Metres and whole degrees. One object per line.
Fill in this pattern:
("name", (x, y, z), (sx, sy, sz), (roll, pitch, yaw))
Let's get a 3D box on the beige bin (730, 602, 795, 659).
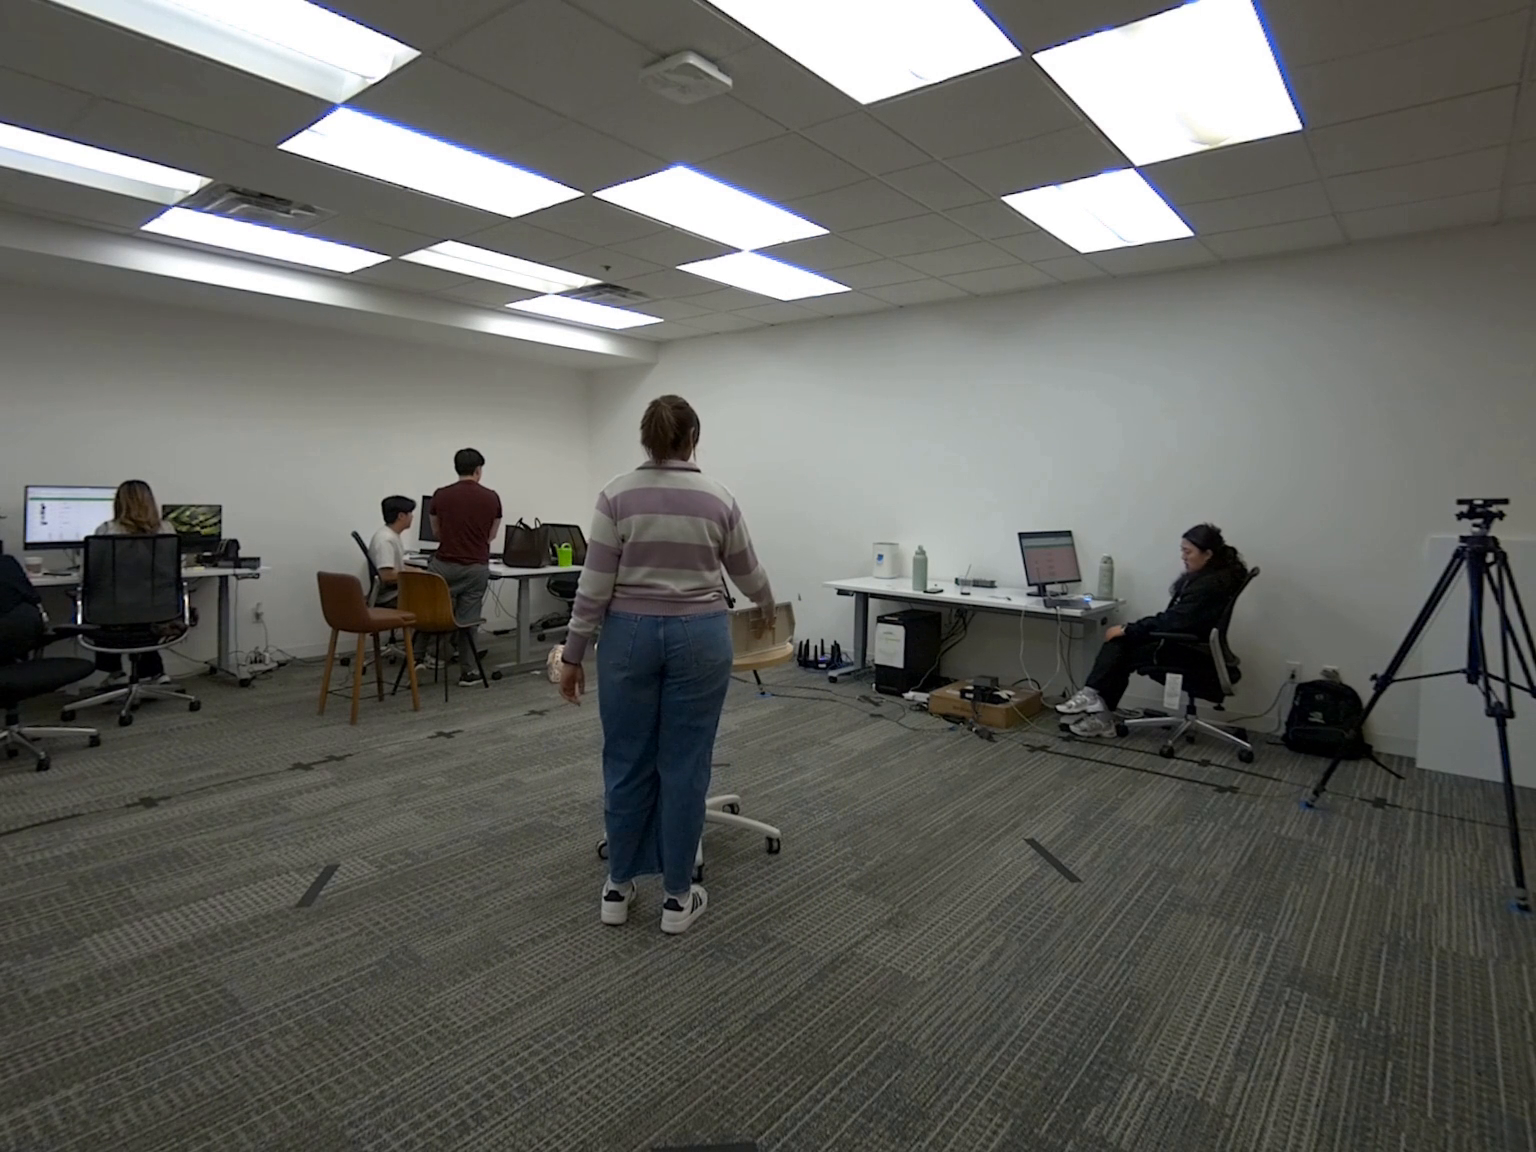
("beige bin", (-0.179, 0.178, 3.294), (0.437, 0.188, 0.367), (6, 9, 39))
